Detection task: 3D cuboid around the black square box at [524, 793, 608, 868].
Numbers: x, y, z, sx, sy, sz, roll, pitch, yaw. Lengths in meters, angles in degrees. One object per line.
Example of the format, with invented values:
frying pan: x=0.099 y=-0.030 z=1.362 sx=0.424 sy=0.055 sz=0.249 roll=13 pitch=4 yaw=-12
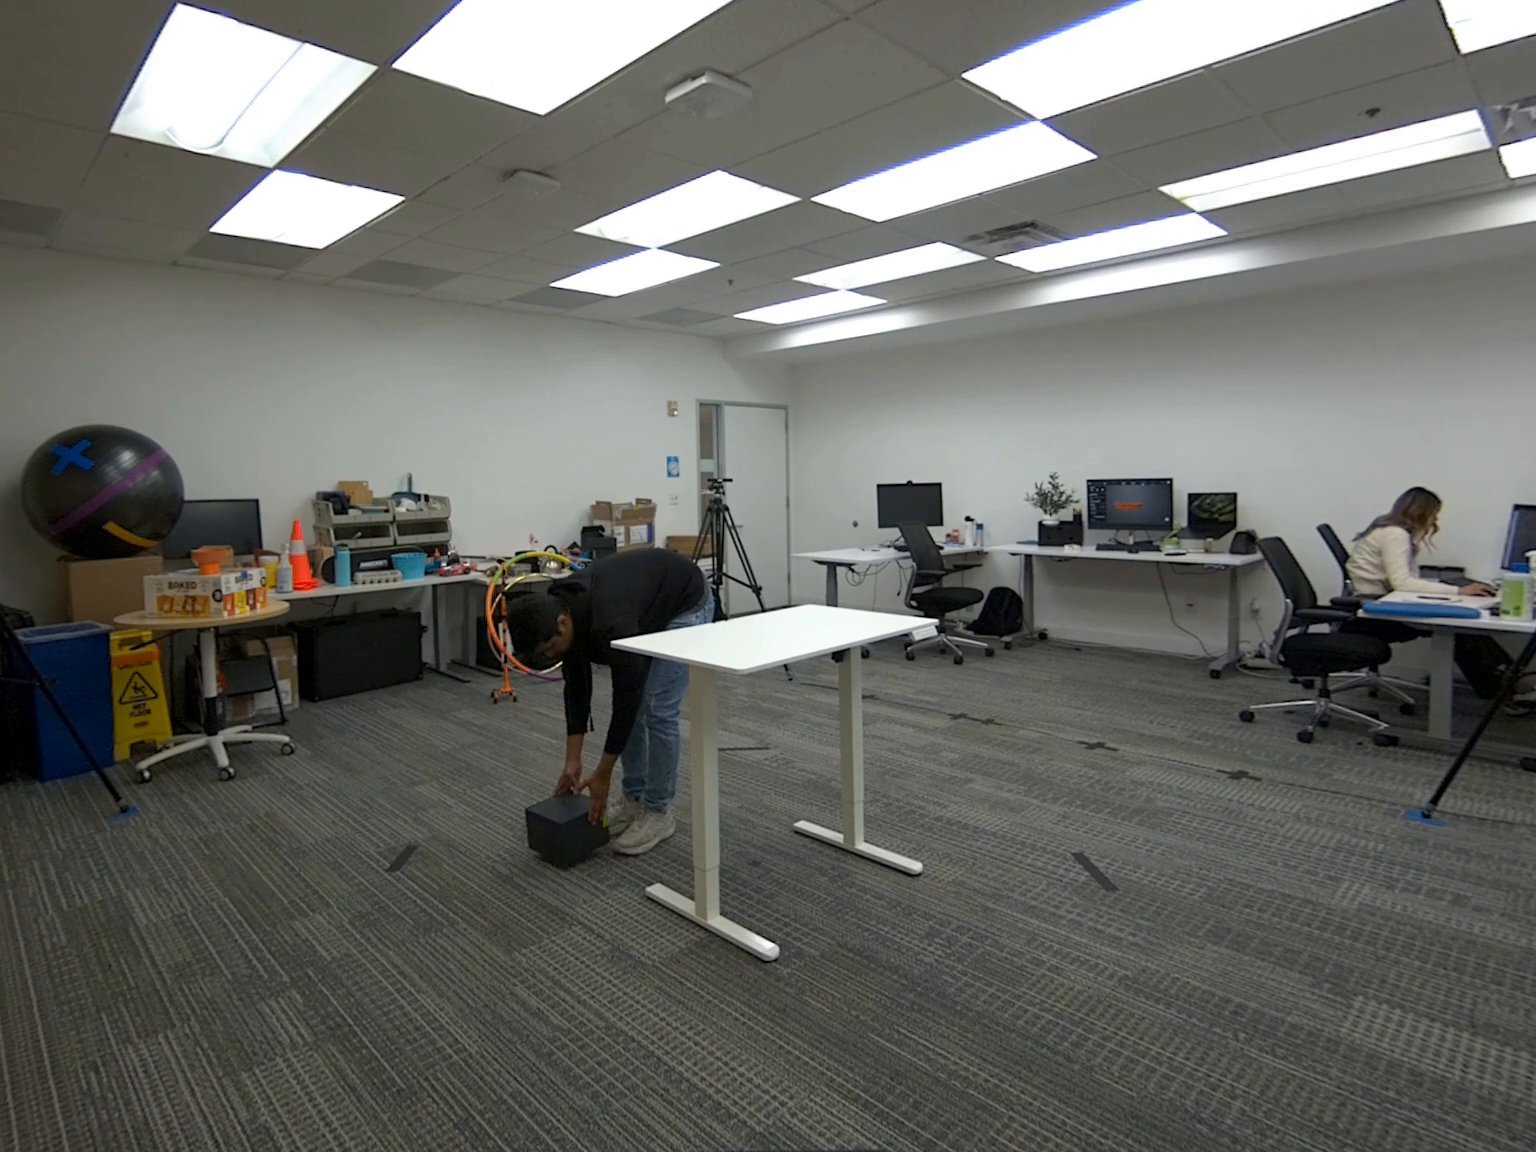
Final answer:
black square box: x=-0.745 y=0.910 z=3.188 sx=0.235 sy=0.155 sz=0.212 roll=3 pitch=10 yaw=40
